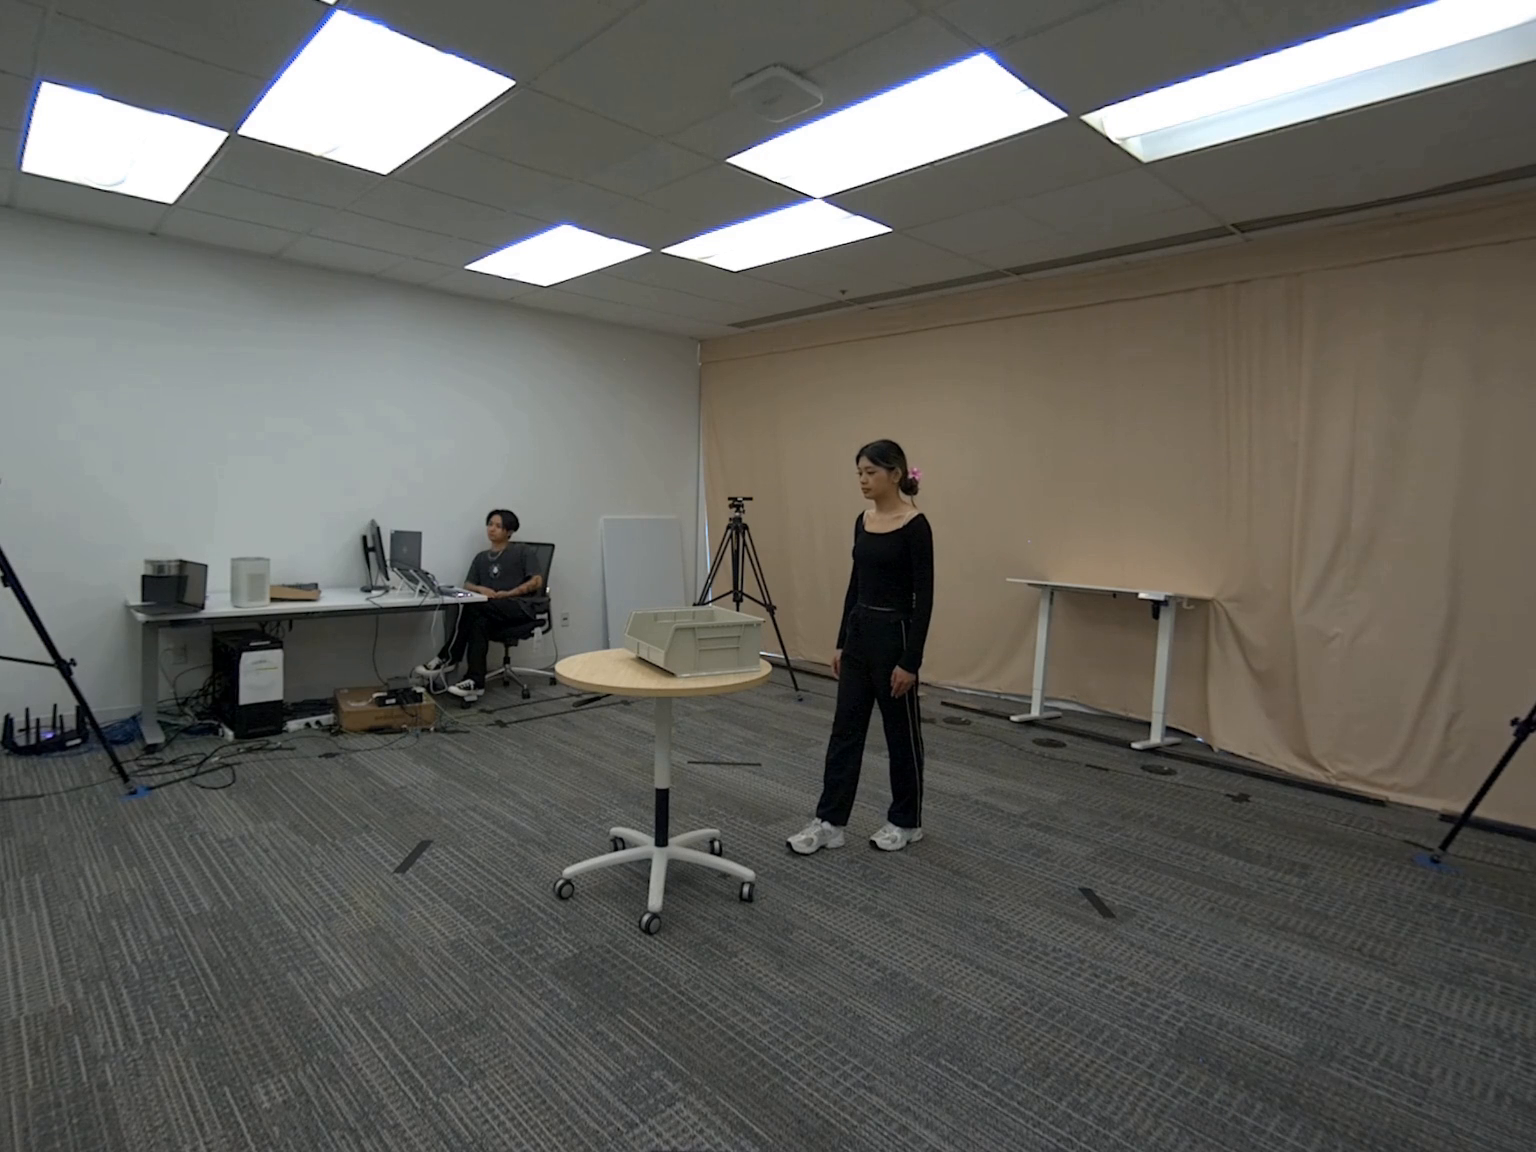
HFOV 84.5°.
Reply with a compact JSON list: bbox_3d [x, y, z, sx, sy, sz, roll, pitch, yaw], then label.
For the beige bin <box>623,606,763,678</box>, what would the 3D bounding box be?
[{"bbox_3d":[-0.281,0.229,3.013,0.370,0.188,0.431,0,4,-28],"label":"beige bin"}]
